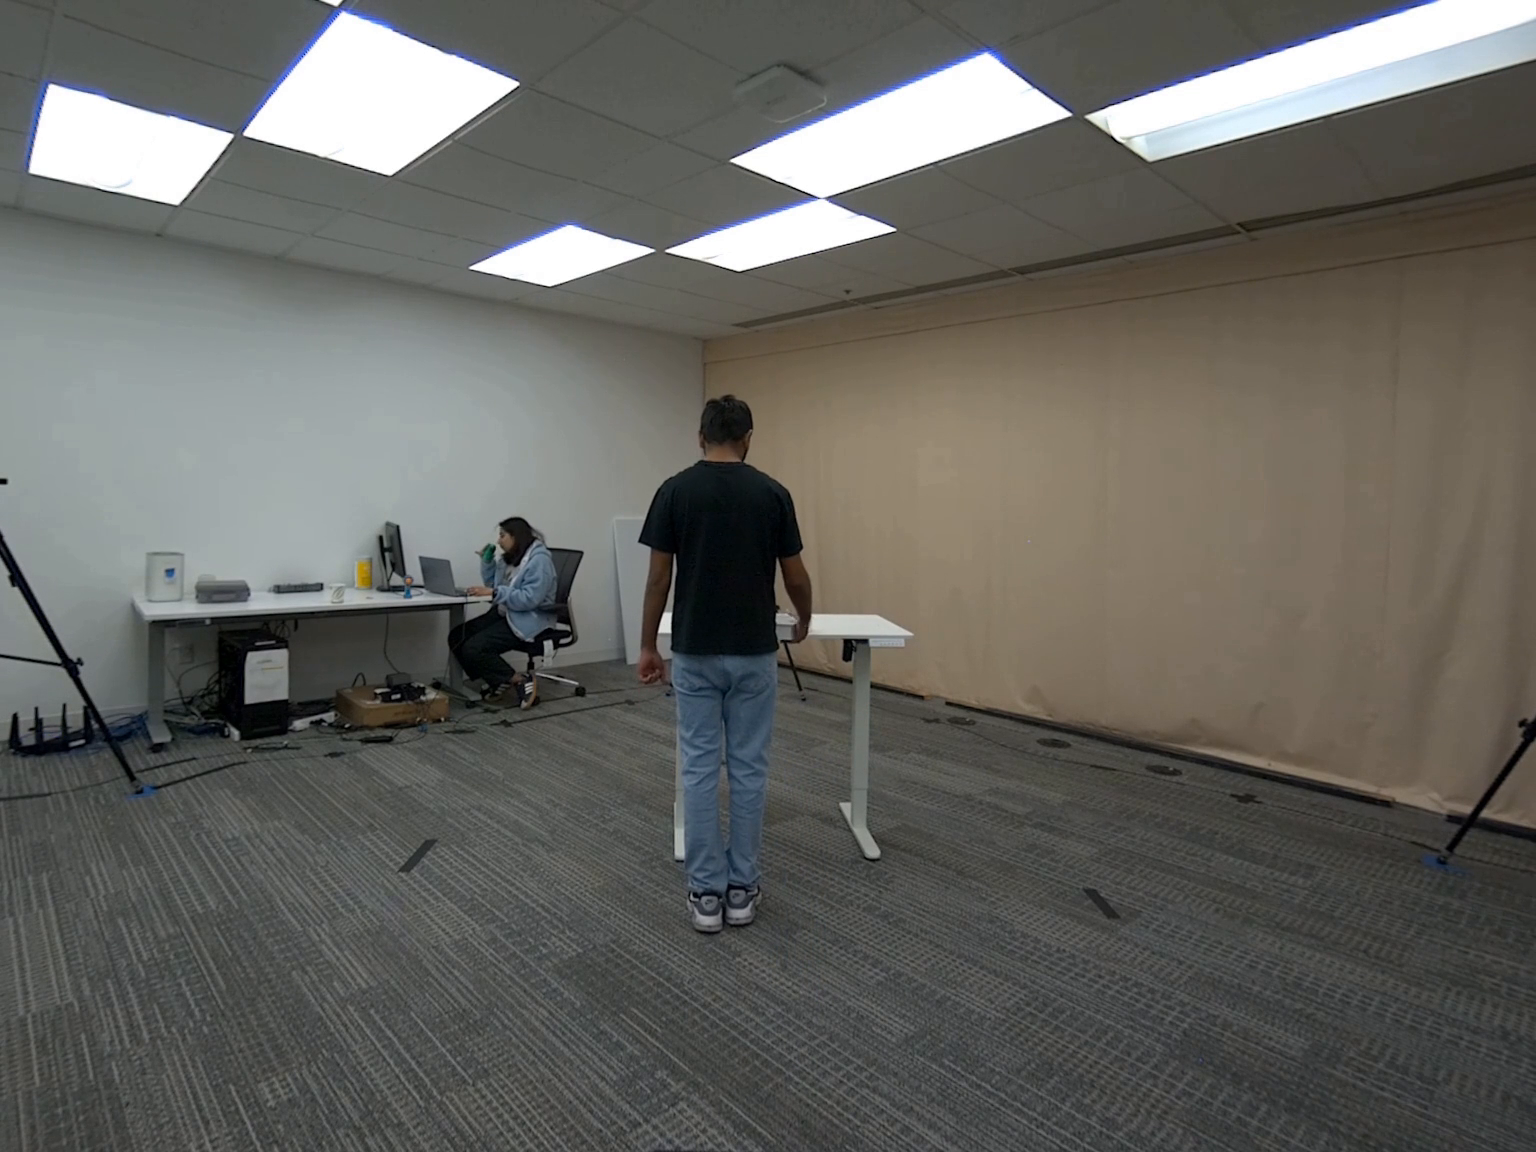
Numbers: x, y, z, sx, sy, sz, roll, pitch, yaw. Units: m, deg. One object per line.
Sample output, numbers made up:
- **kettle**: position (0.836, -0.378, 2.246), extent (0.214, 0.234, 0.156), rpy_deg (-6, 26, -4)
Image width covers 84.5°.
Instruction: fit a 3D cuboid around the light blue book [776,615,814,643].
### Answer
- **light blue book**: position (0.039, 0.194, 3.203), extent (0.195, 0.059, 0.257), rpy_deg (4, 5, 21)
